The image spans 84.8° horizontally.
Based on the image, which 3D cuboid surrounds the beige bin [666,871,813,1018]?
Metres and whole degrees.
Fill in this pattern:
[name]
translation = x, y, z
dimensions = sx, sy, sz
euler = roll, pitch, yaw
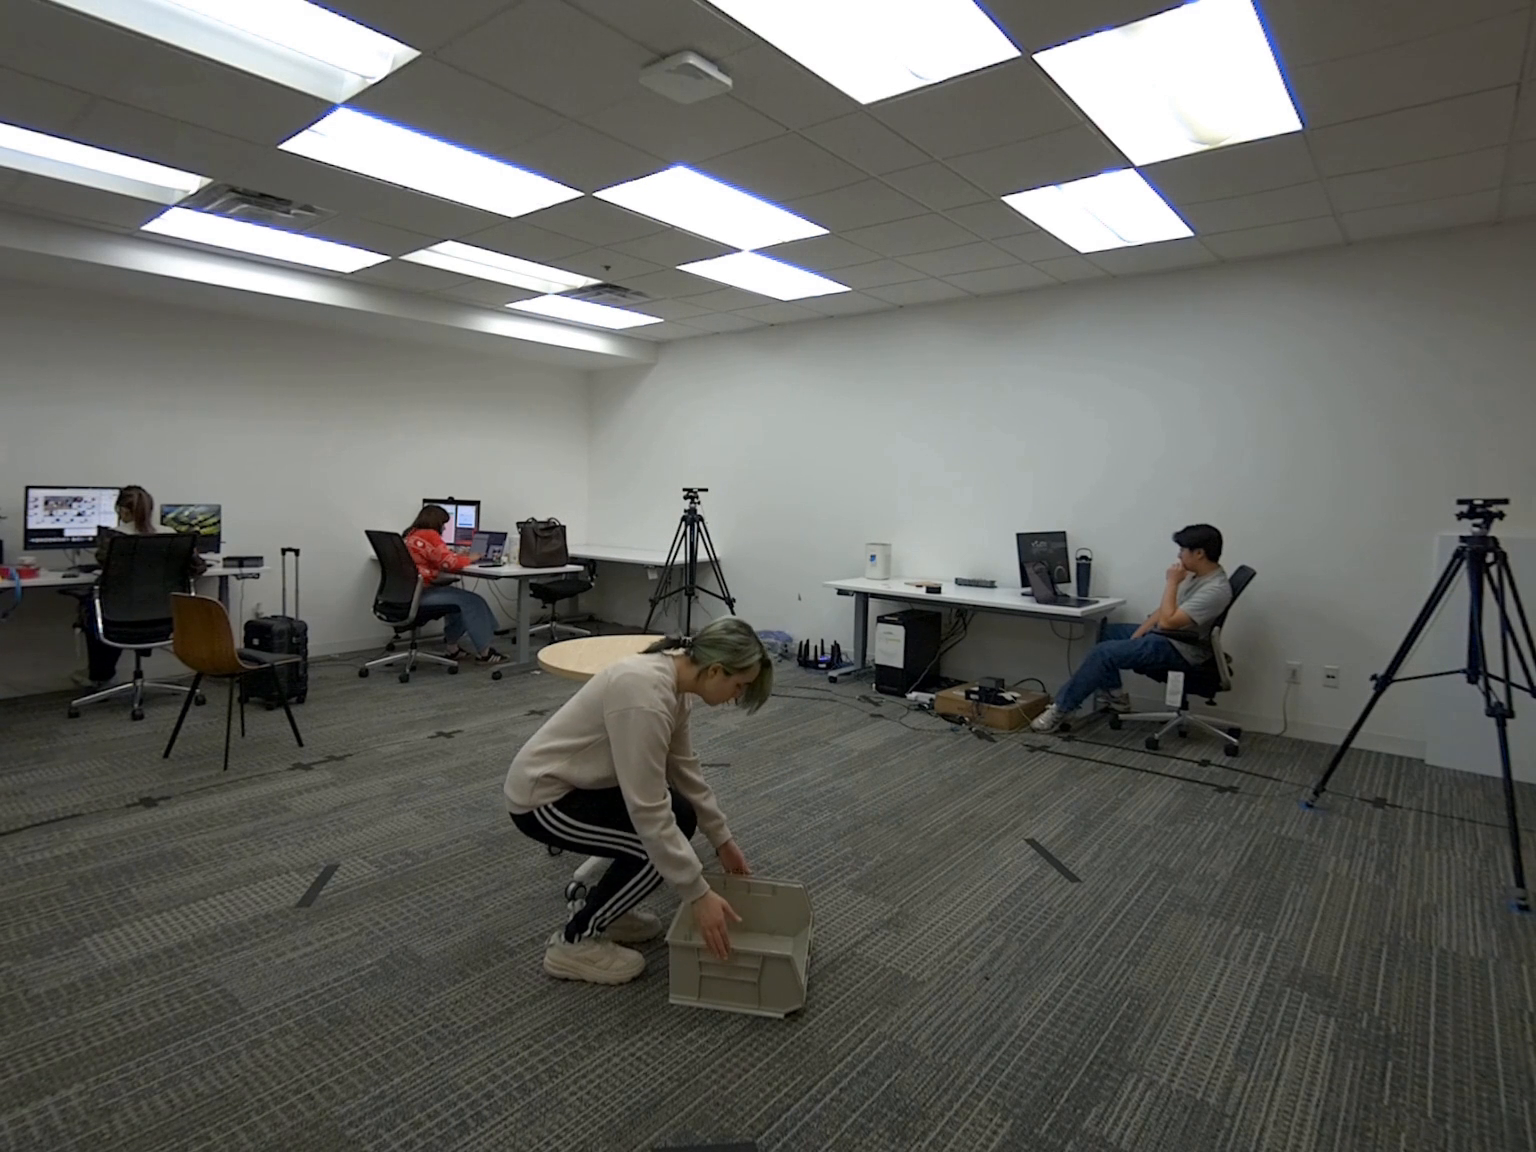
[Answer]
[beige bin]
translation = -0.071, 1.048, 2.449
dimensions = 0.381, 0.188, 0.420
euler = 0, 6, 8
